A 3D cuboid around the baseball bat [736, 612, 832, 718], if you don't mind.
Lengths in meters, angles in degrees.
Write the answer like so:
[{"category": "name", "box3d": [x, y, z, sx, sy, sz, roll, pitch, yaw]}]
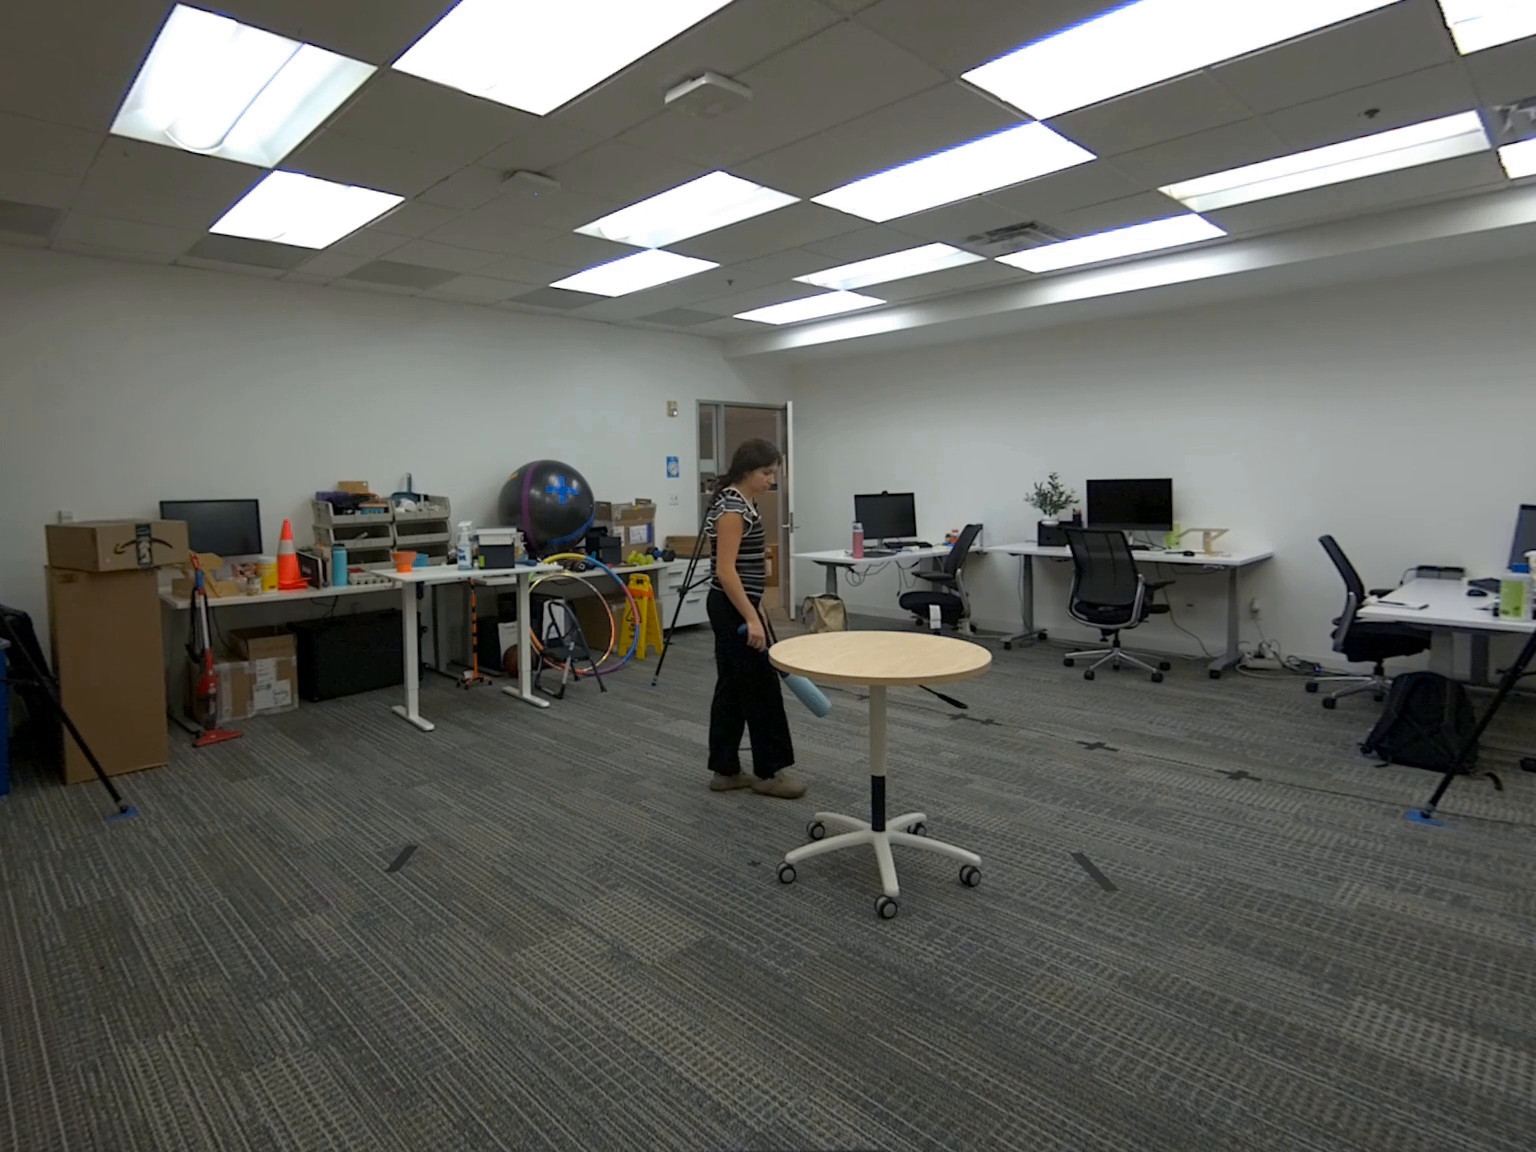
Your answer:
[{"category": "baseball bat", "box3d": [0.069, 0.402, 3.640, 0.089, 0.535, 0.090, -42, 12, 11]}]
